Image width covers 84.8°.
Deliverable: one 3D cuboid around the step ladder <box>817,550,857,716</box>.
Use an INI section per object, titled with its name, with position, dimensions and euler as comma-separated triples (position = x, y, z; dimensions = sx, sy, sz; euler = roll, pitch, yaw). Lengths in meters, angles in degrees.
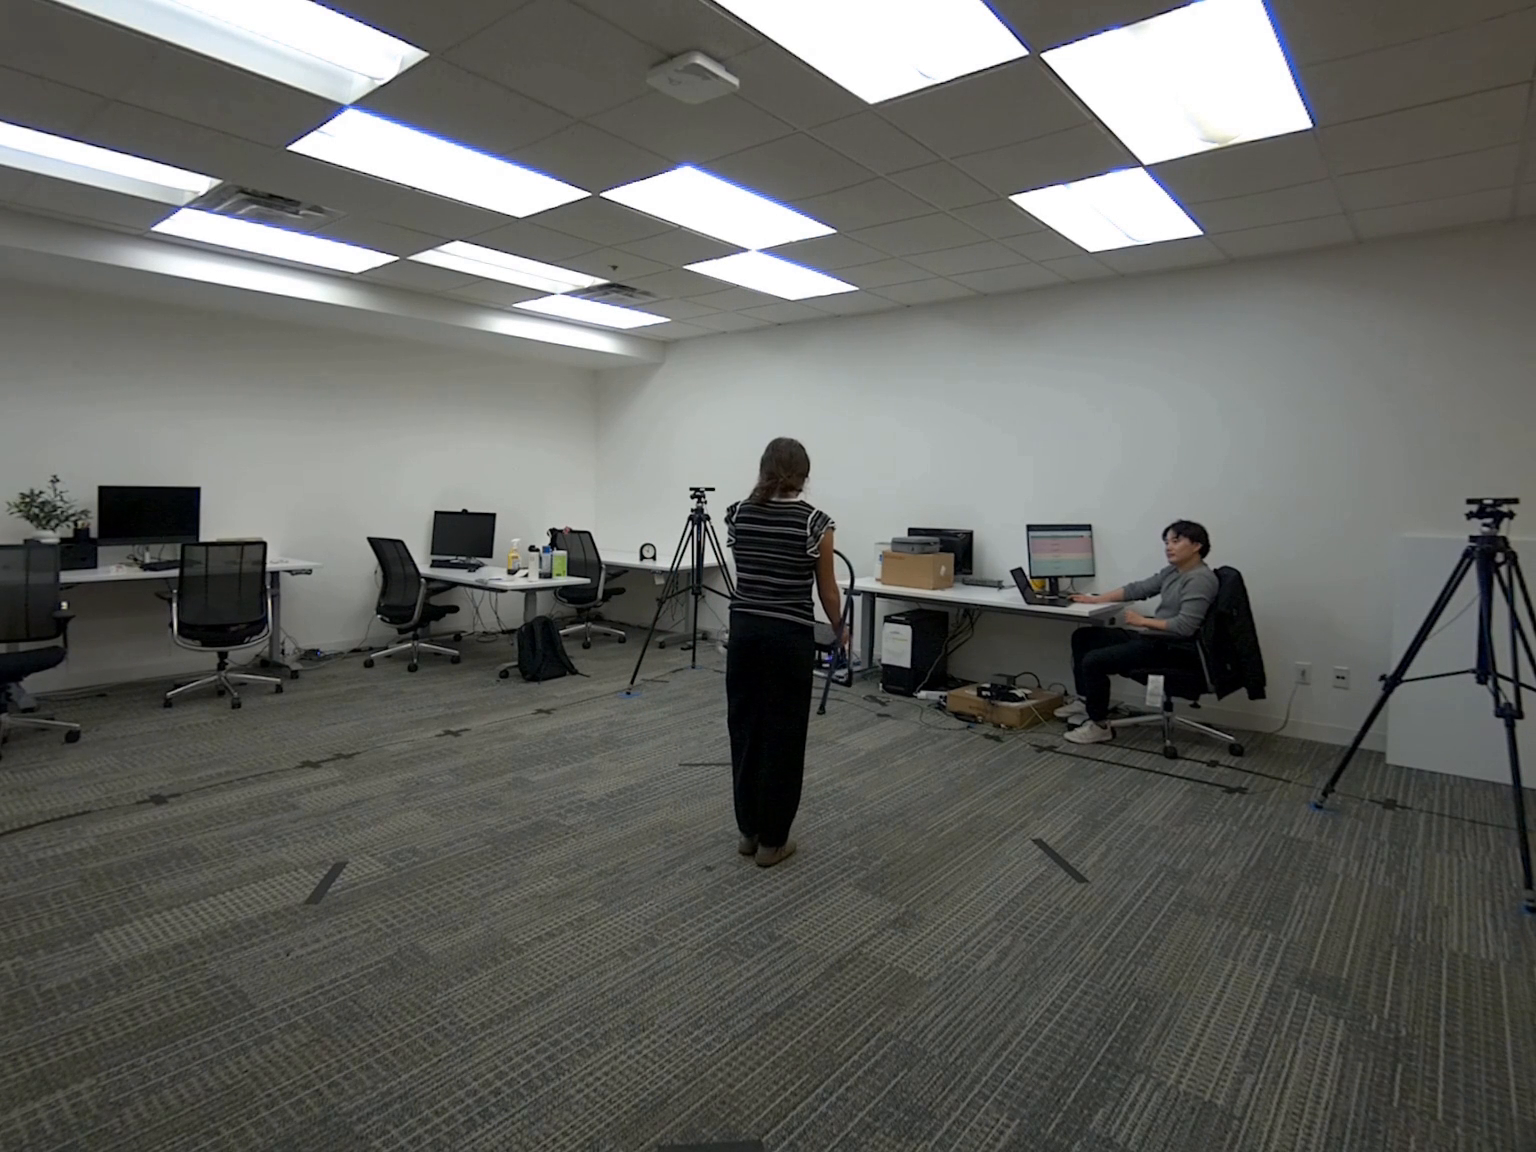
[step ladder]
position = 0.124, 0.173, 3.504
dimensions = 0.443, 0.599, 0.343
euler = 13, 16, 25
